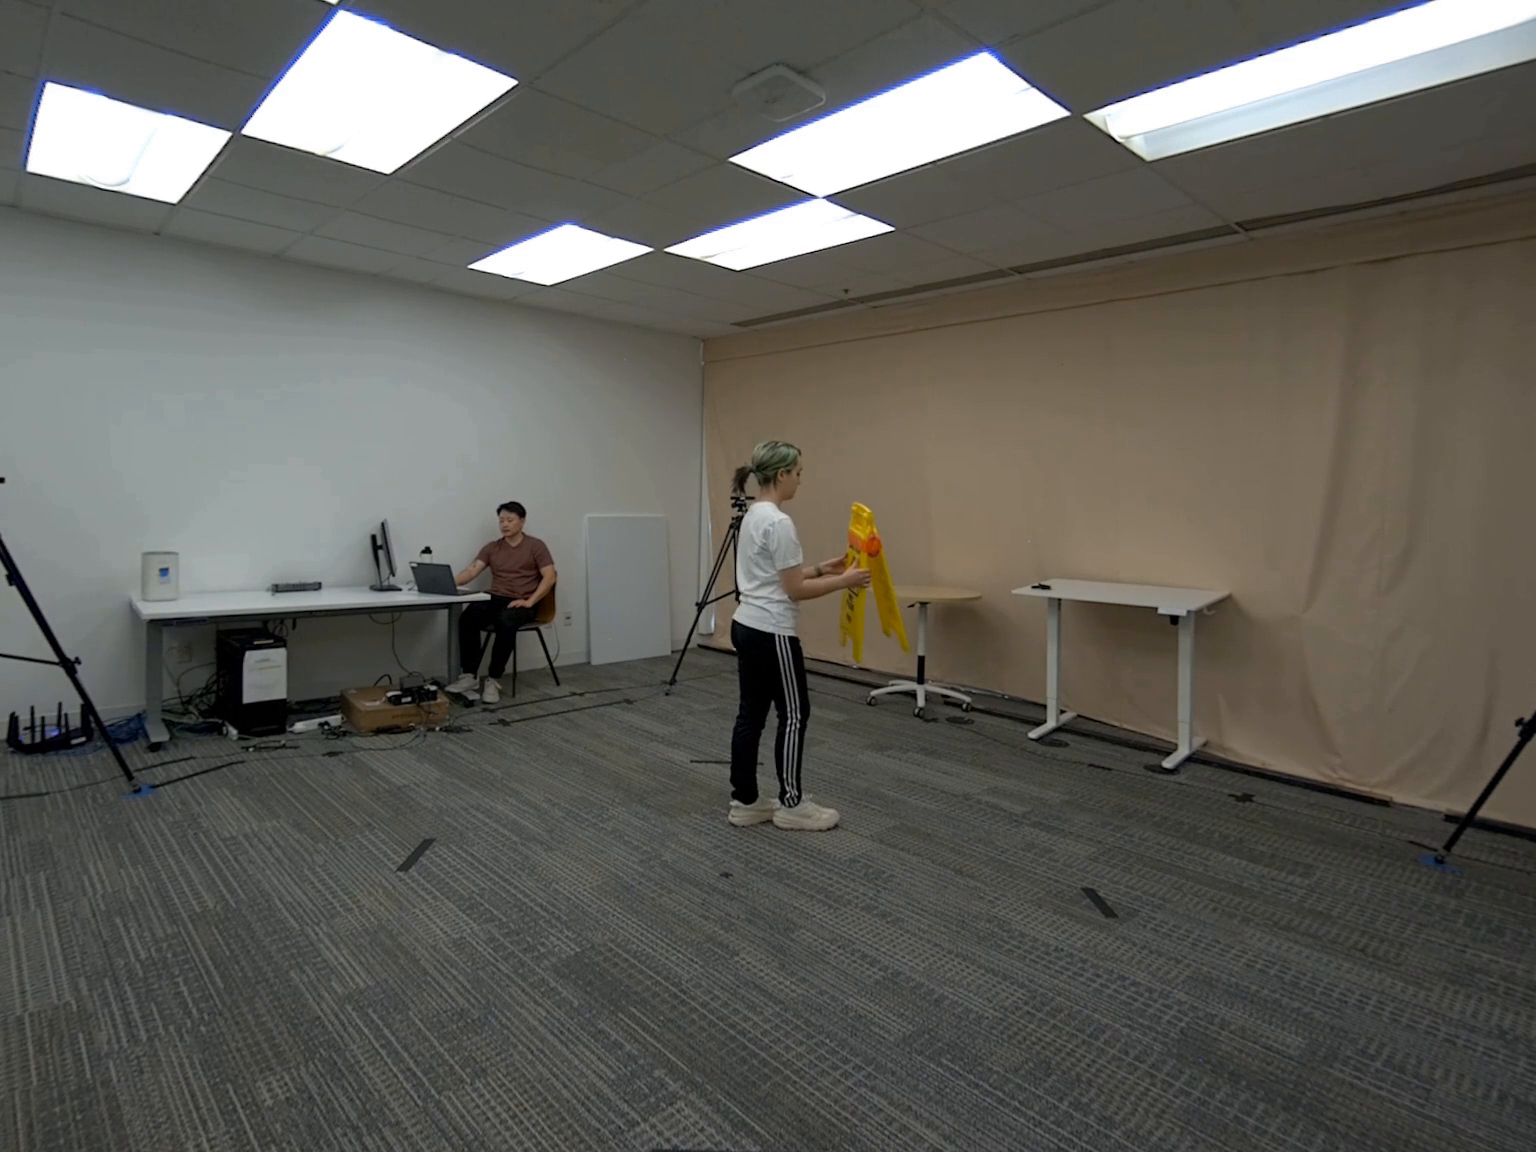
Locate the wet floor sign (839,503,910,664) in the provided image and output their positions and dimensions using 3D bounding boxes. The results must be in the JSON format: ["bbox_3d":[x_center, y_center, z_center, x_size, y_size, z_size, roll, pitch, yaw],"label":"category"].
[{"bbox_3d":[0.425,0.010,3.660,0.288,0.638,0.287,-9,16,-10],"label":"wet floor sign"}]
